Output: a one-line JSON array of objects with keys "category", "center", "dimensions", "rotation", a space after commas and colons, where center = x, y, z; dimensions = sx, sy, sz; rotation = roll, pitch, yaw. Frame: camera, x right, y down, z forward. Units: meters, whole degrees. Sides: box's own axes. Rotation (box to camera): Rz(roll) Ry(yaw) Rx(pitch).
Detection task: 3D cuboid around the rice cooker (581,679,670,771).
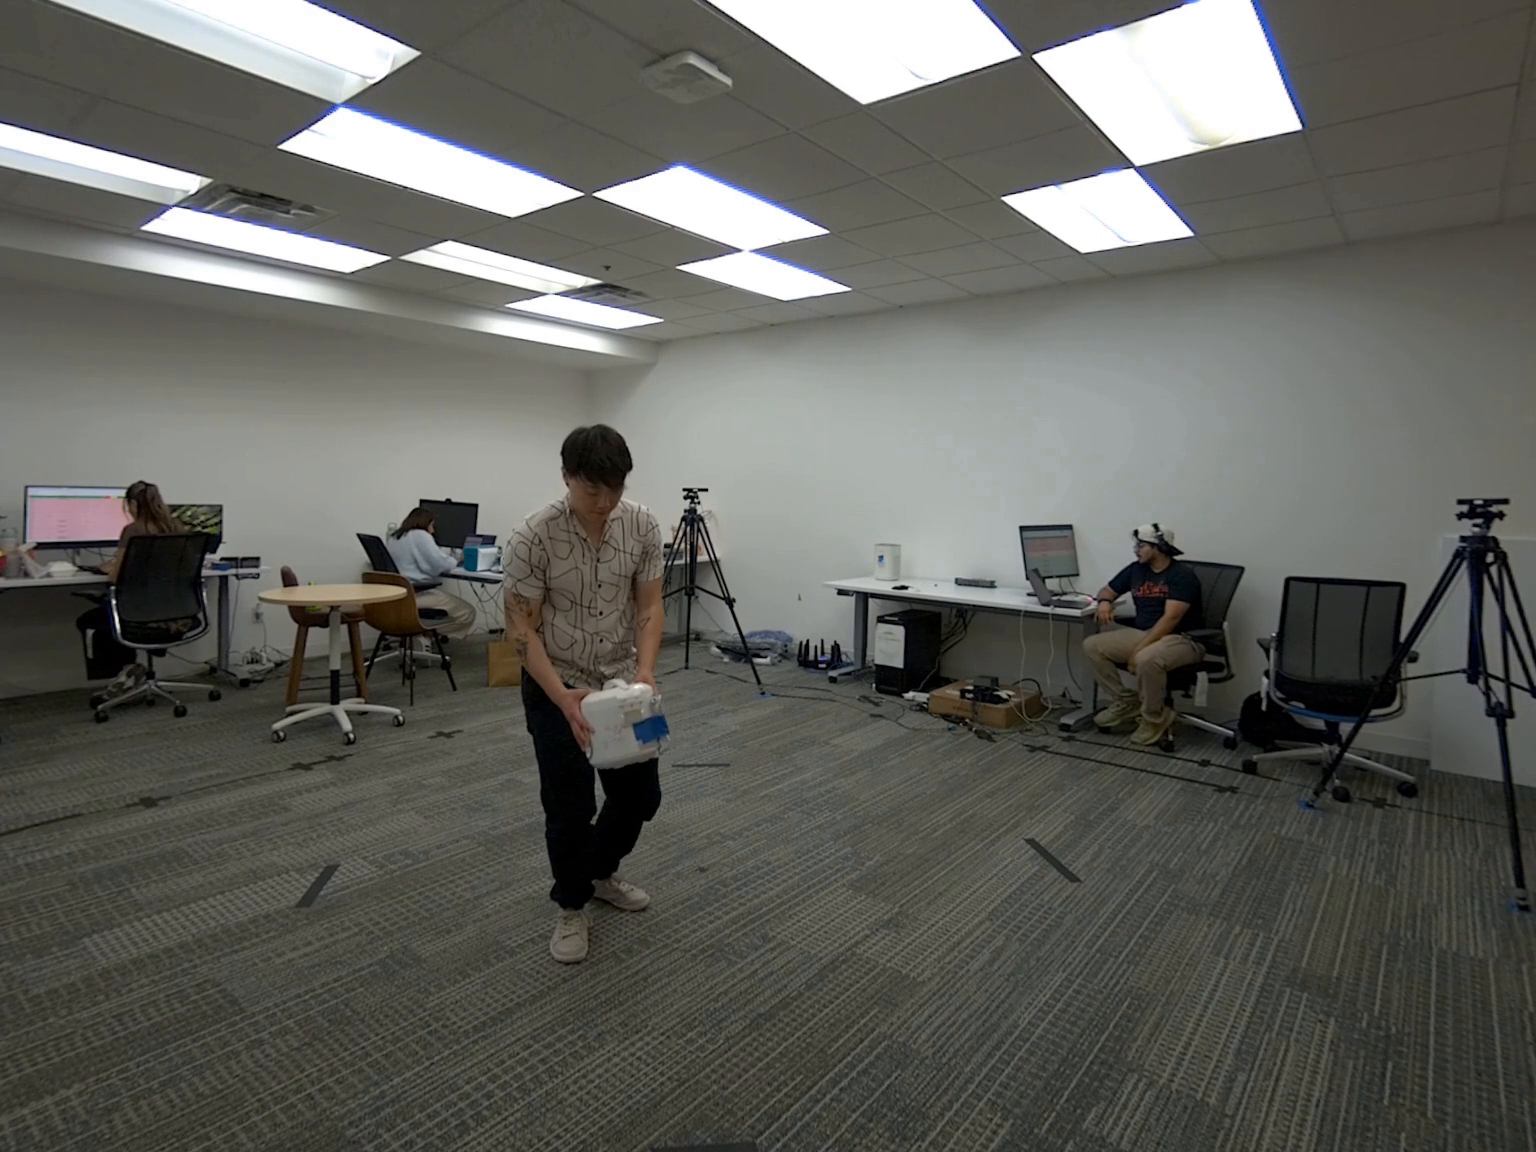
[{"category": "rice cooker", "center": [-0.417, 0.402, 2.359], "dimensions": [0.212, 0.235, 0.224], "rotation": [-6, -8, -31]}]
